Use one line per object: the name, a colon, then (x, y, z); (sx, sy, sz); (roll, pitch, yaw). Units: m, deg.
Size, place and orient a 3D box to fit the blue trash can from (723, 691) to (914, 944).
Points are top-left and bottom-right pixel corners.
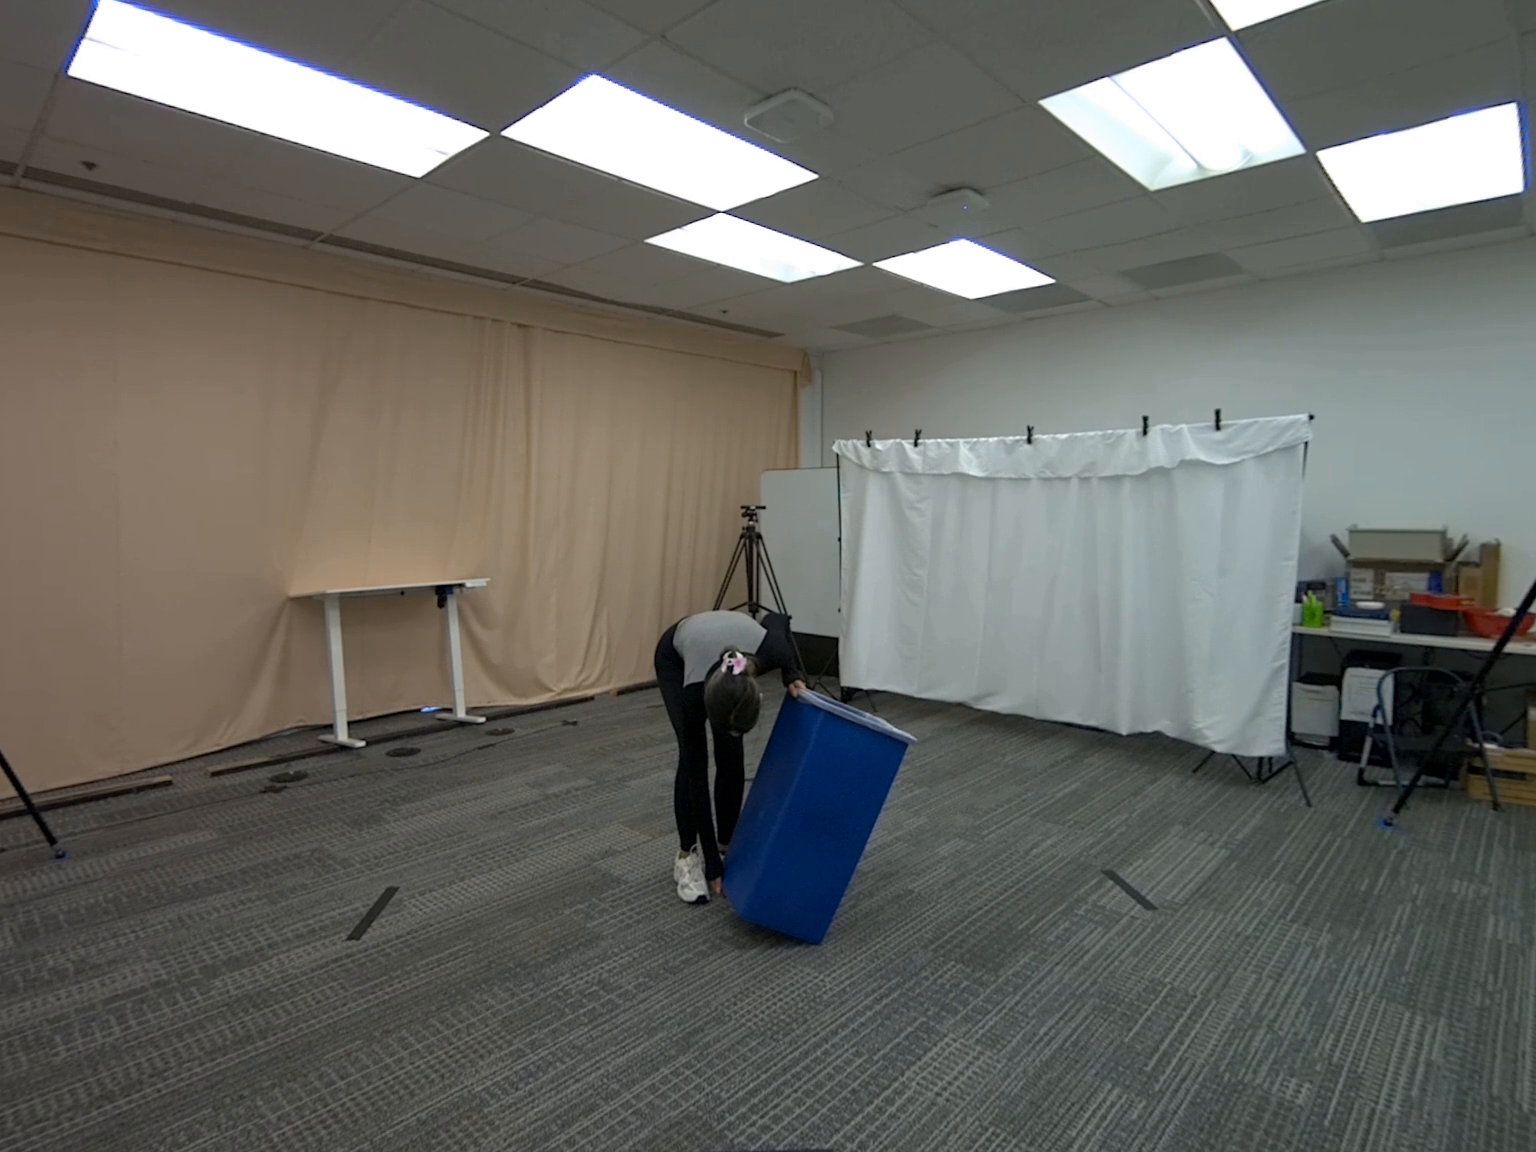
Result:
blue trash can: (0.136, 0.772, 2.787); (0.367, 0.714, 0.385); (24, -5, -17)
